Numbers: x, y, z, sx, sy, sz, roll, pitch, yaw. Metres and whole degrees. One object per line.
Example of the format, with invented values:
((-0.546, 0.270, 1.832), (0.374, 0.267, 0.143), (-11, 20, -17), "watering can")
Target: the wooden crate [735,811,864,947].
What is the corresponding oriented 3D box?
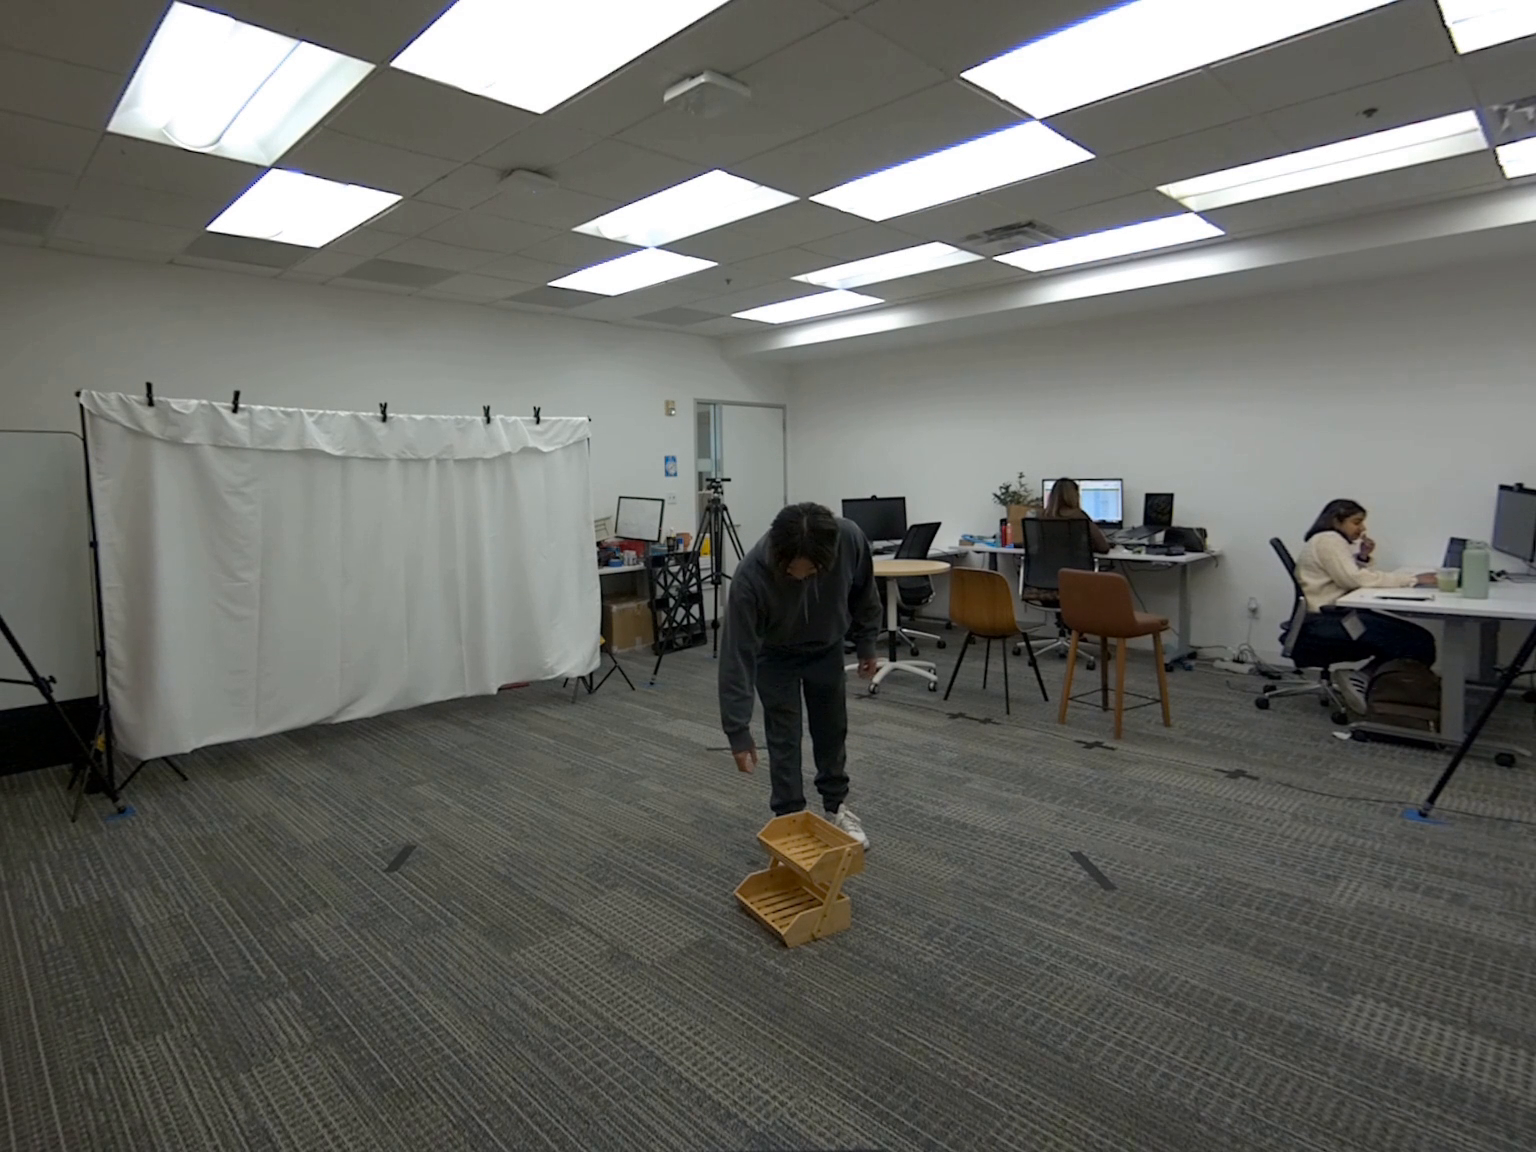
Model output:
((0.090, 0.953, 2.727), (0.295, 0.272, 0.334), (-4, 6, -31), "wooden crate")
